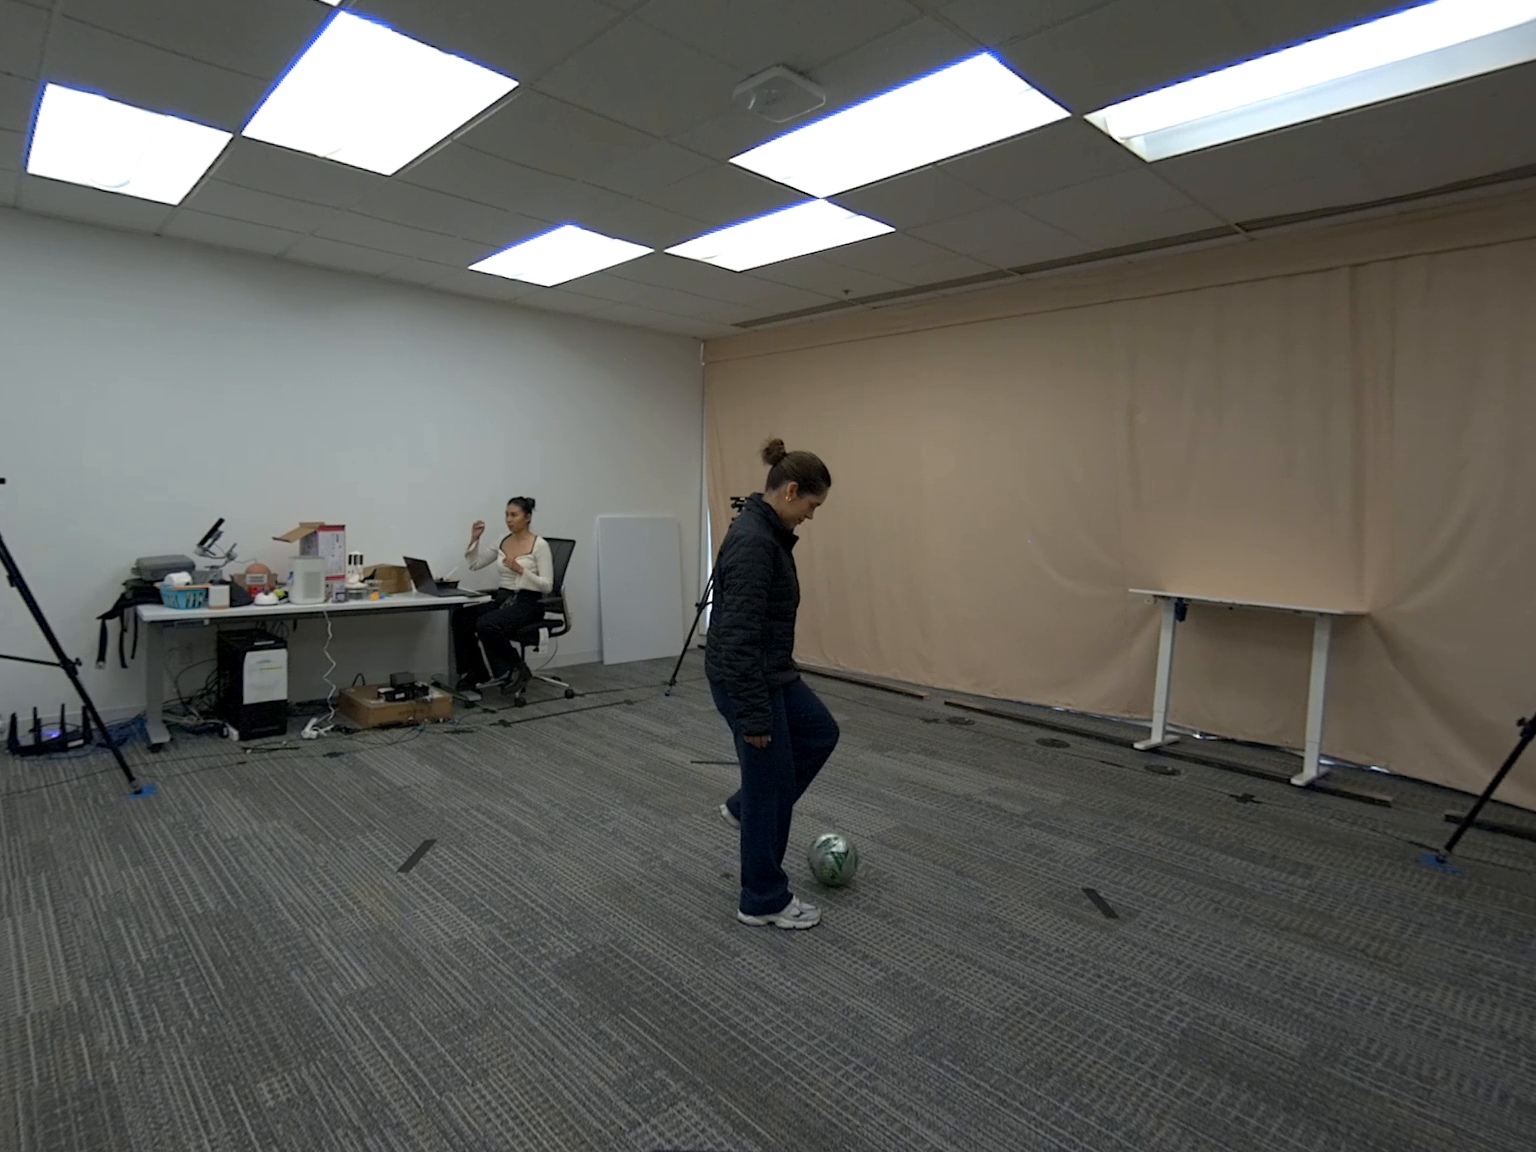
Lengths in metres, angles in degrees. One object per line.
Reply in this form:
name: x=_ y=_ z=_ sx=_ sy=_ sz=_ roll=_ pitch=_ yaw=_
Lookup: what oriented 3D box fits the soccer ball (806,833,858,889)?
soccer ball: x=0.227 y=1.025 z=3.055 sx=0.187 sy=0.187 sz=0.188 roll=1 pitch=4 yaw=-1
